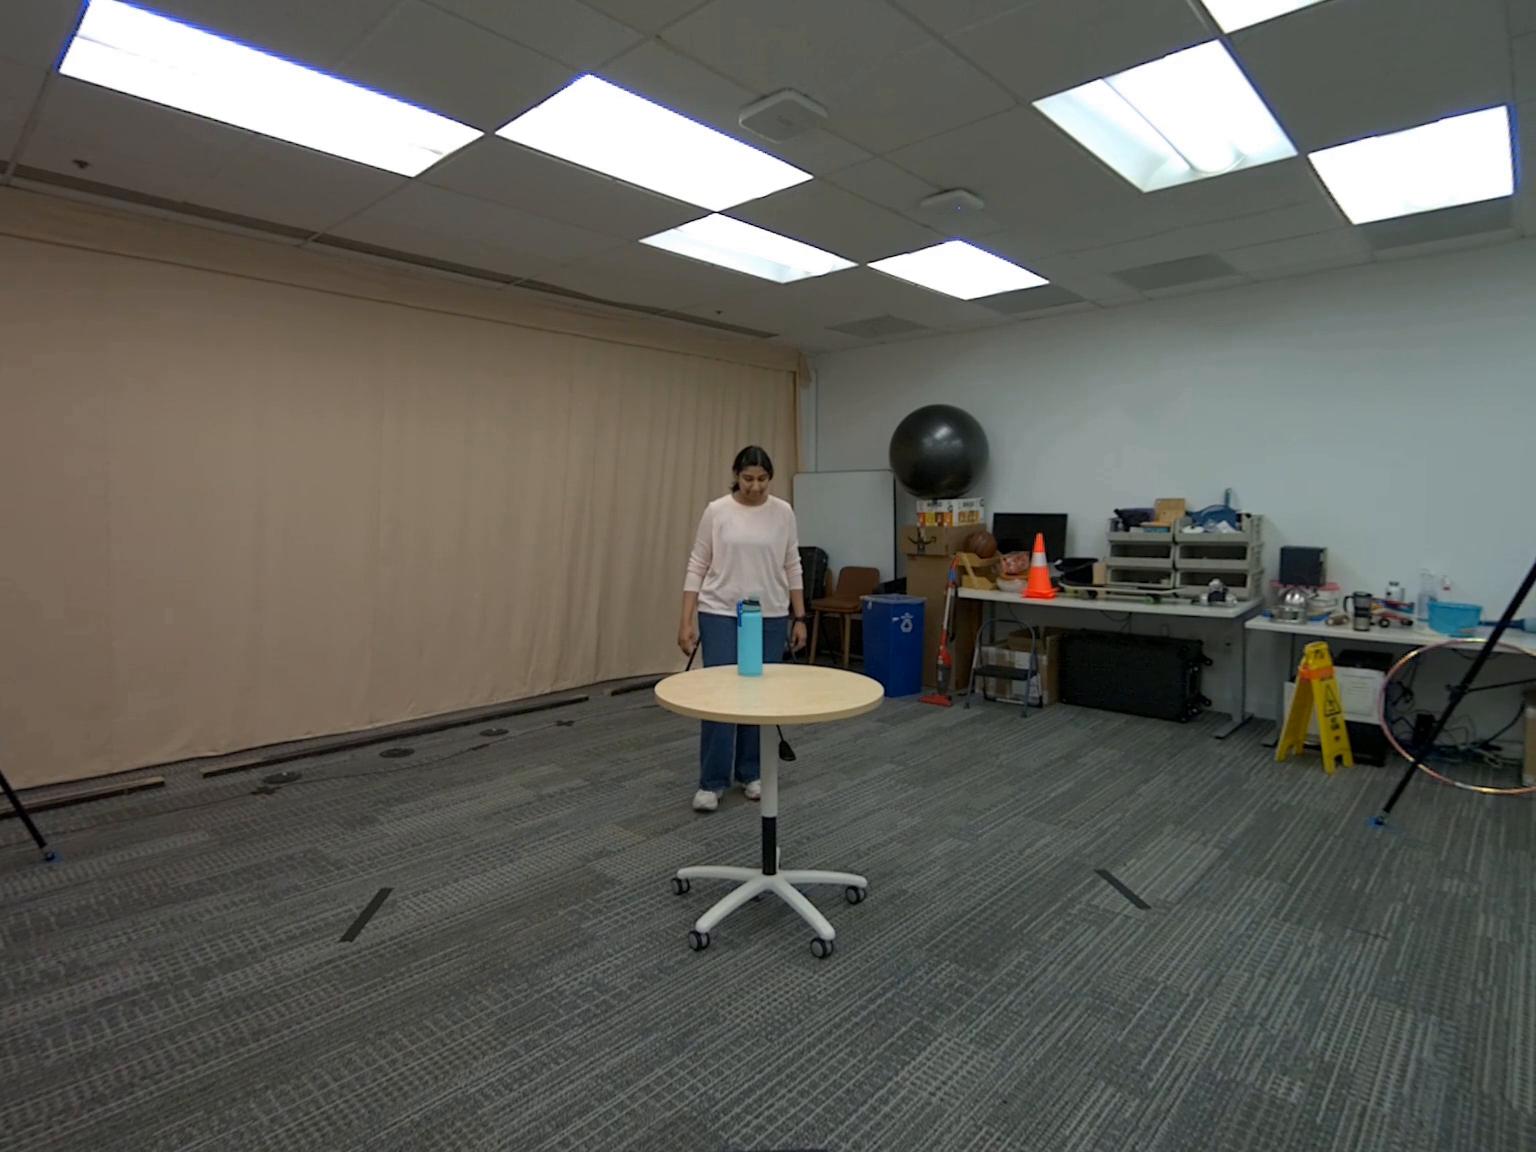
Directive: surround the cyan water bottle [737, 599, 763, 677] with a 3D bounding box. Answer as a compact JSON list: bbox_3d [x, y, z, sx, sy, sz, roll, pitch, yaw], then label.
[{"bbox_3d":[-0.068,0.216,3.039,0.092,0.283,0.092,-1,3,-2],"label":"cyan water bottle"}]
